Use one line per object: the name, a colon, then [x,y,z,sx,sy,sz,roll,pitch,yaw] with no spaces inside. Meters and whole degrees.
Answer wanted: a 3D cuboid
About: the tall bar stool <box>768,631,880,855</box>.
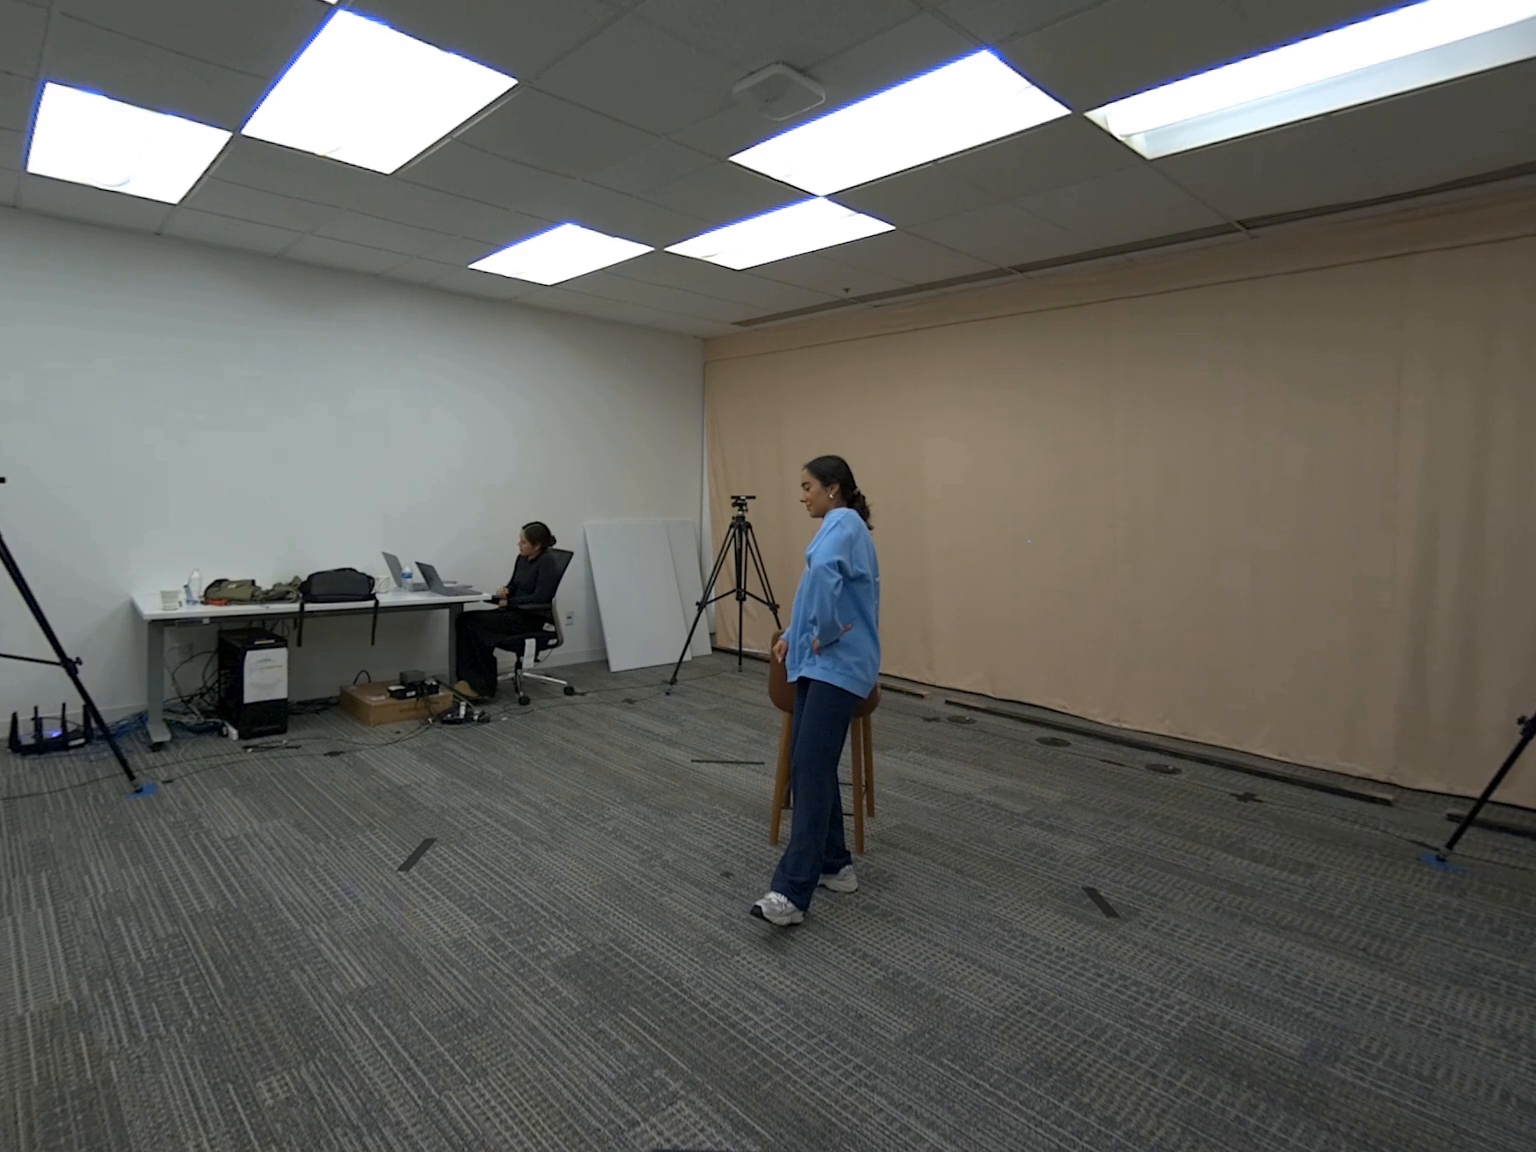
tall bar stool: [0.235,0.639,3.541,0.461,0.887,0.464,2,5,13]
